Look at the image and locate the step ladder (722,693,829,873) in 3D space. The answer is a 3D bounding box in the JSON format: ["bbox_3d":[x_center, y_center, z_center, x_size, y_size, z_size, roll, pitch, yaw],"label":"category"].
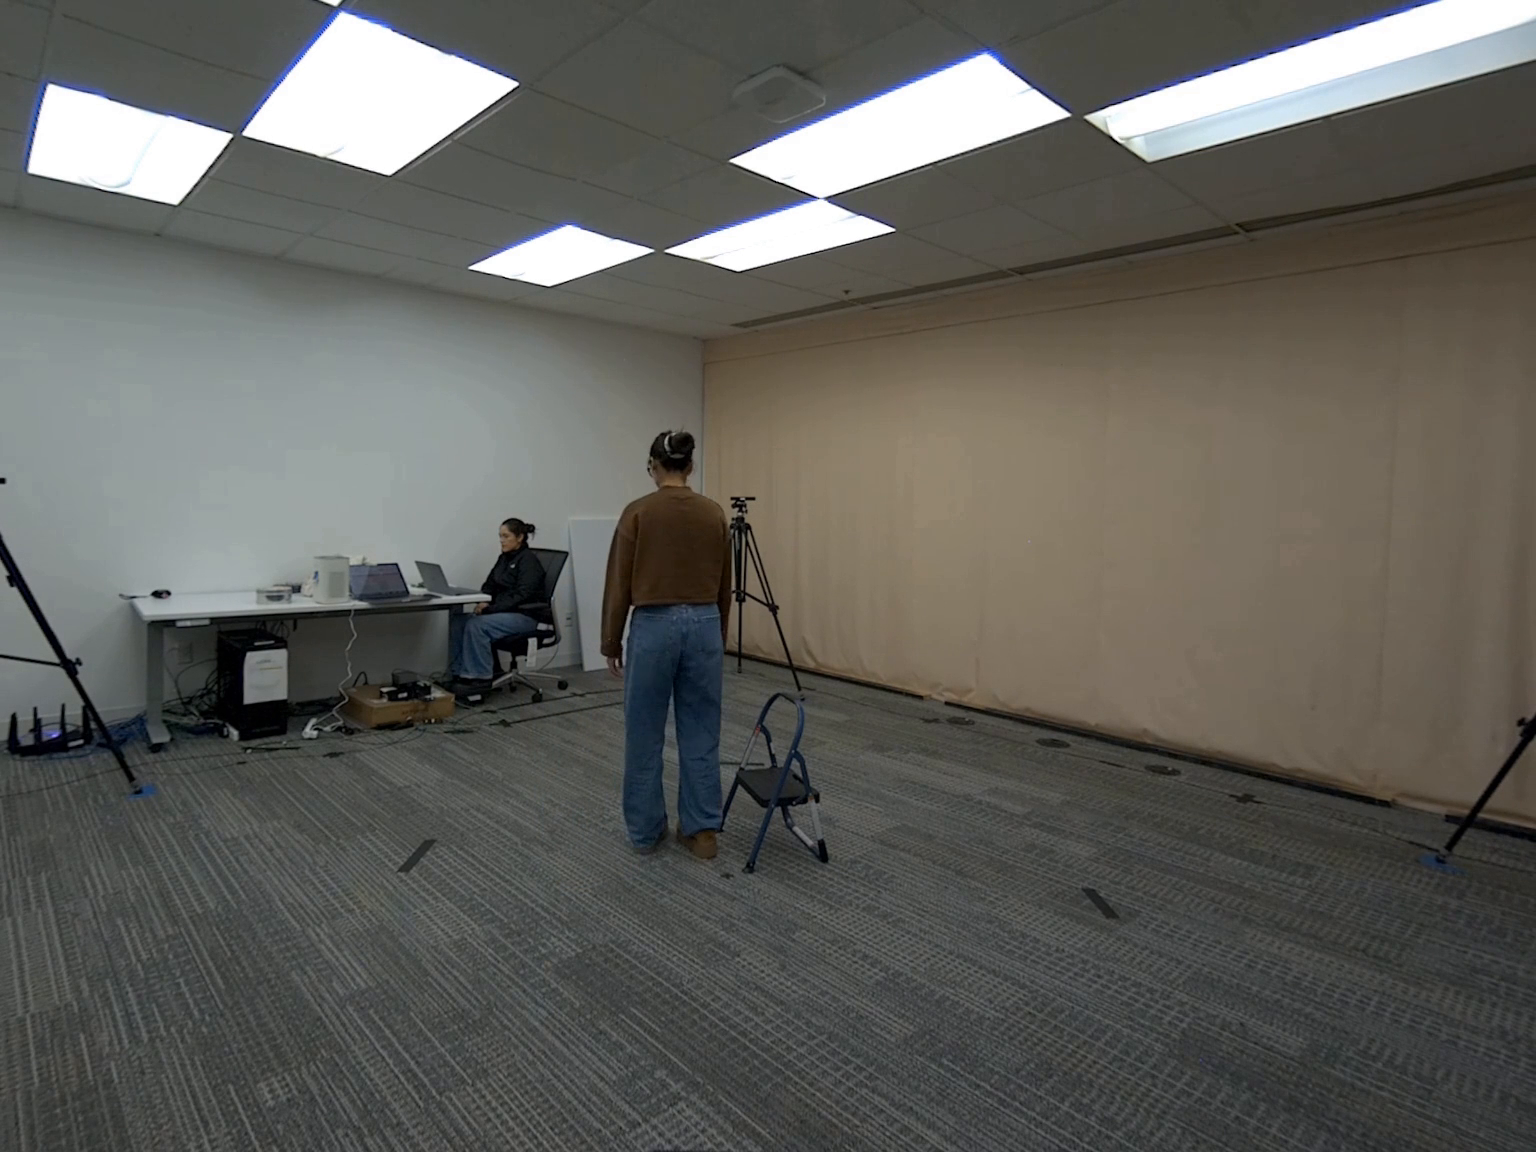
[{"bbox_3d":[-0.001,0.787,3.366,0.344,0.605,0.438,0,4,-19],"label":"step ladder"}]
